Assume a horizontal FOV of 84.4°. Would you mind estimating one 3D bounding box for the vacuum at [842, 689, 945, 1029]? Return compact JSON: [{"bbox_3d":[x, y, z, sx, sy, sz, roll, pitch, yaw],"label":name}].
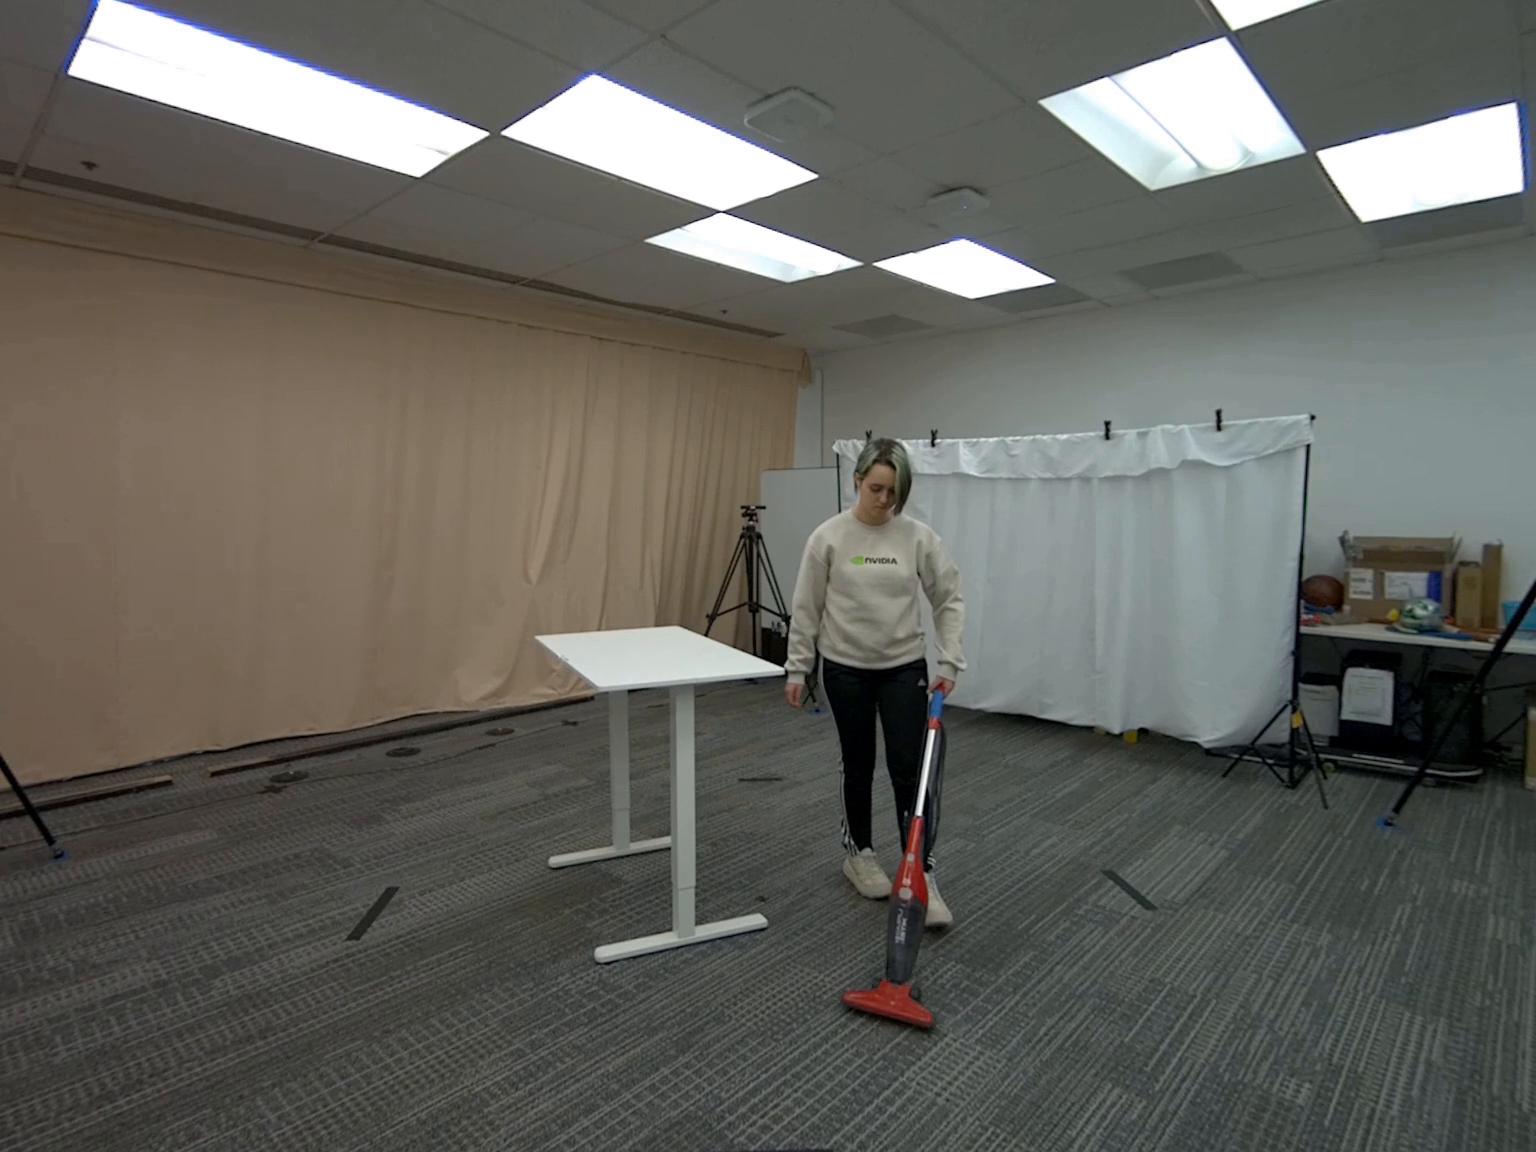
[{"bbox_3d":[0.474,0.772,2.601,0.259,1.056,0.140,3,-37,22],"label":"vacuum"}]
